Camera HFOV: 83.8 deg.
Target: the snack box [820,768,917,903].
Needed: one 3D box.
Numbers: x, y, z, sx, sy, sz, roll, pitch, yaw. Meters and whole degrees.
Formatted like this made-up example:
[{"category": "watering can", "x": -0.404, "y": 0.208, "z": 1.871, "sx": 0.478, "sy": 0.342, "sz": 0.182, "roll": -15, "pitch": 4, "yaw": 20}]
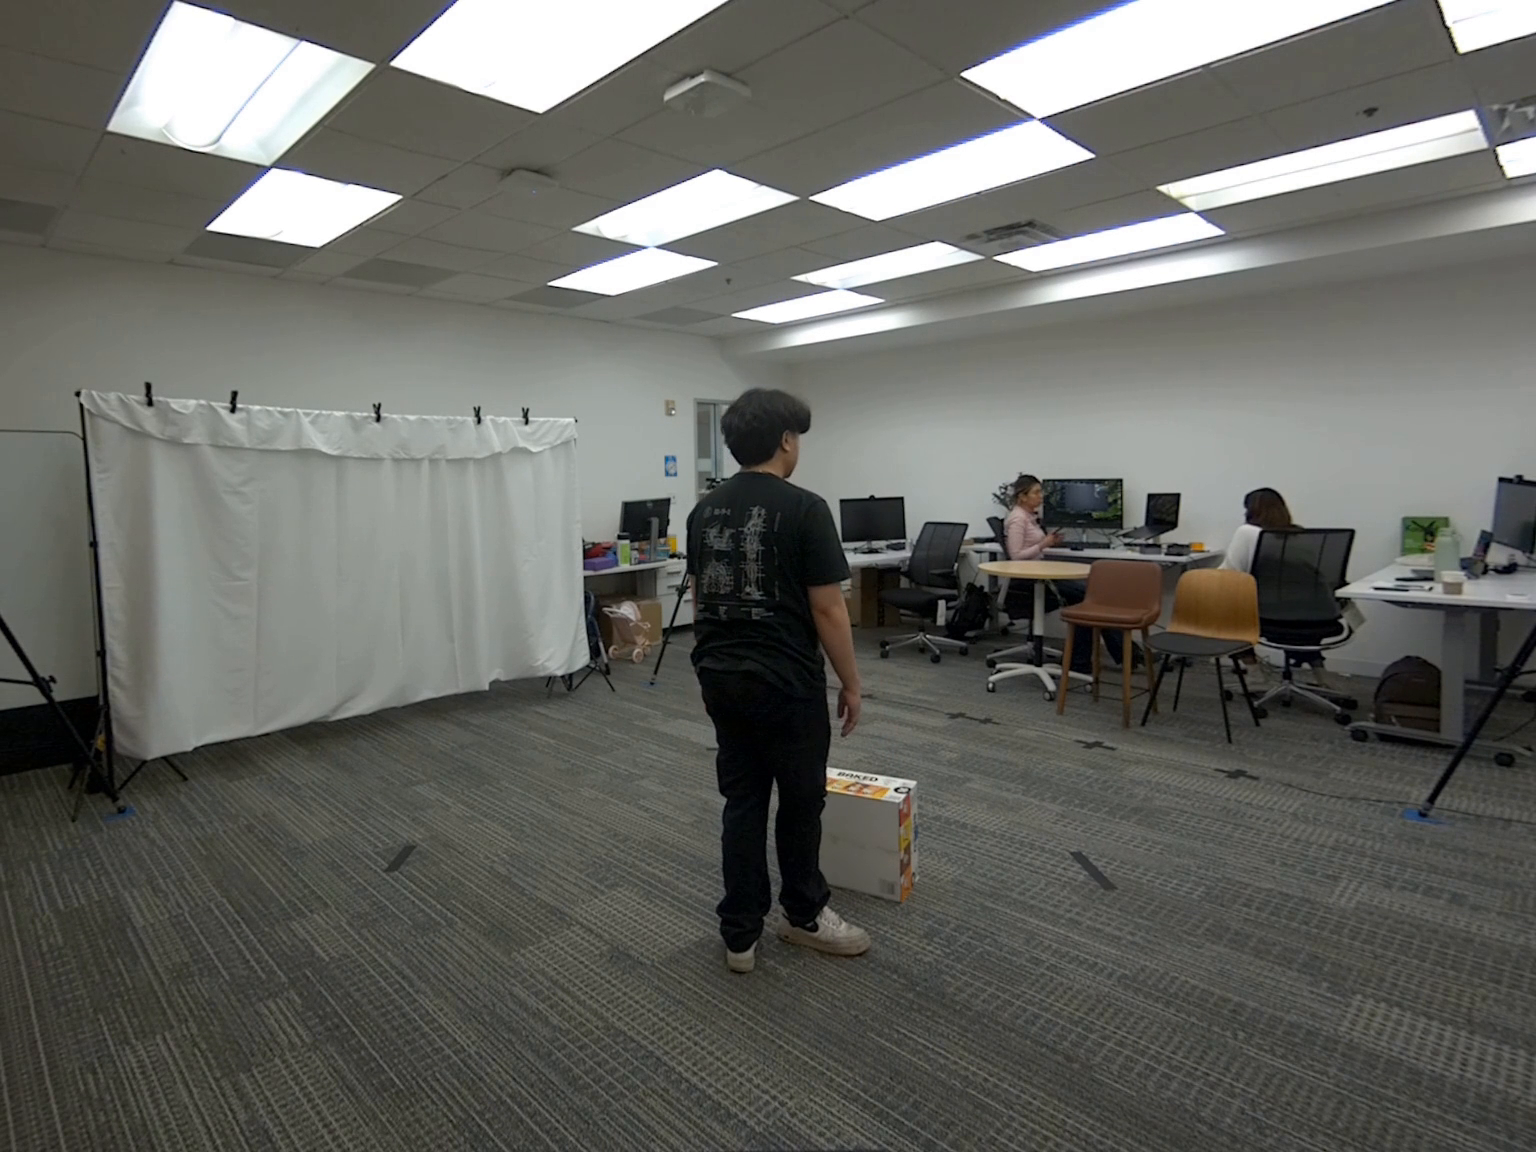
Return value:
[{"category": "snack box", "x": 0.299, "y": 0.881, "z": 2.967, "sx": 0.415, "sy": 0.339, "sz": 0.201, "roll": 1, "pitch": 5, "yaw": 28}]
